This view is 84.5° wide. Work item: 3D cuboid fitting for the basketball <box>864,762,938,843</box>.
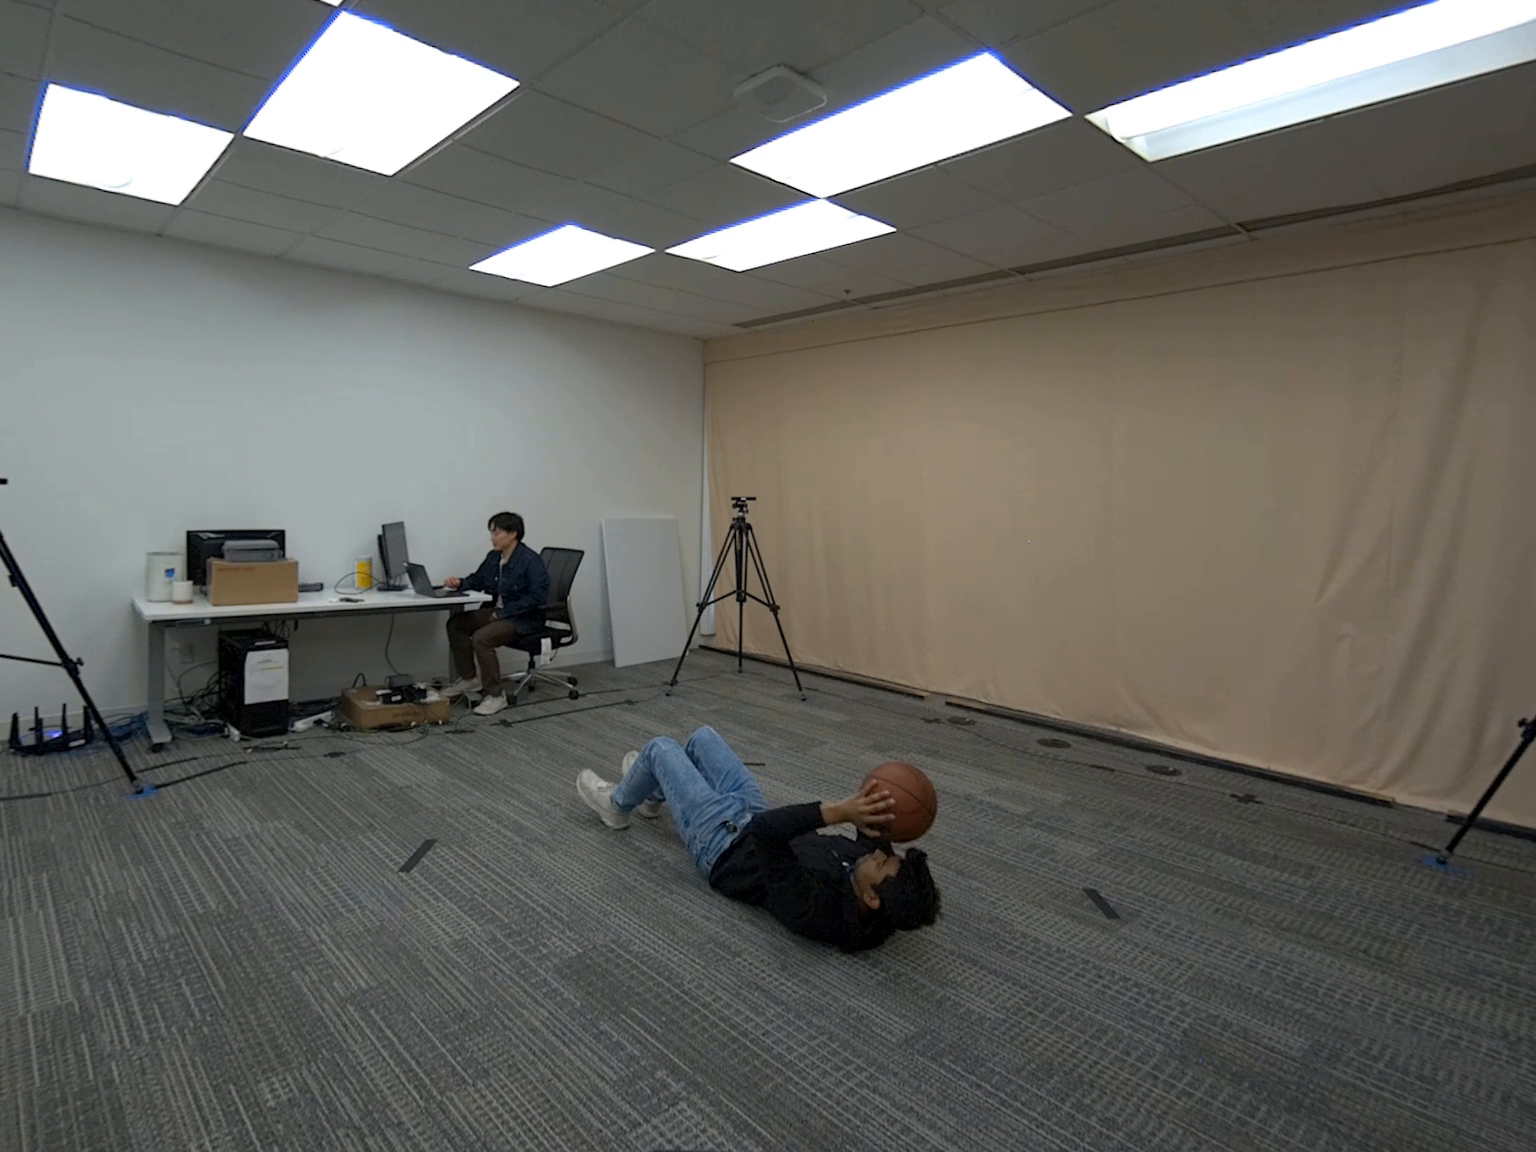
[{"bbox_3d":[0.385,0.692,2.584,0.236,0.235,0.237,1,4,-1],"label":"basketball"}]
